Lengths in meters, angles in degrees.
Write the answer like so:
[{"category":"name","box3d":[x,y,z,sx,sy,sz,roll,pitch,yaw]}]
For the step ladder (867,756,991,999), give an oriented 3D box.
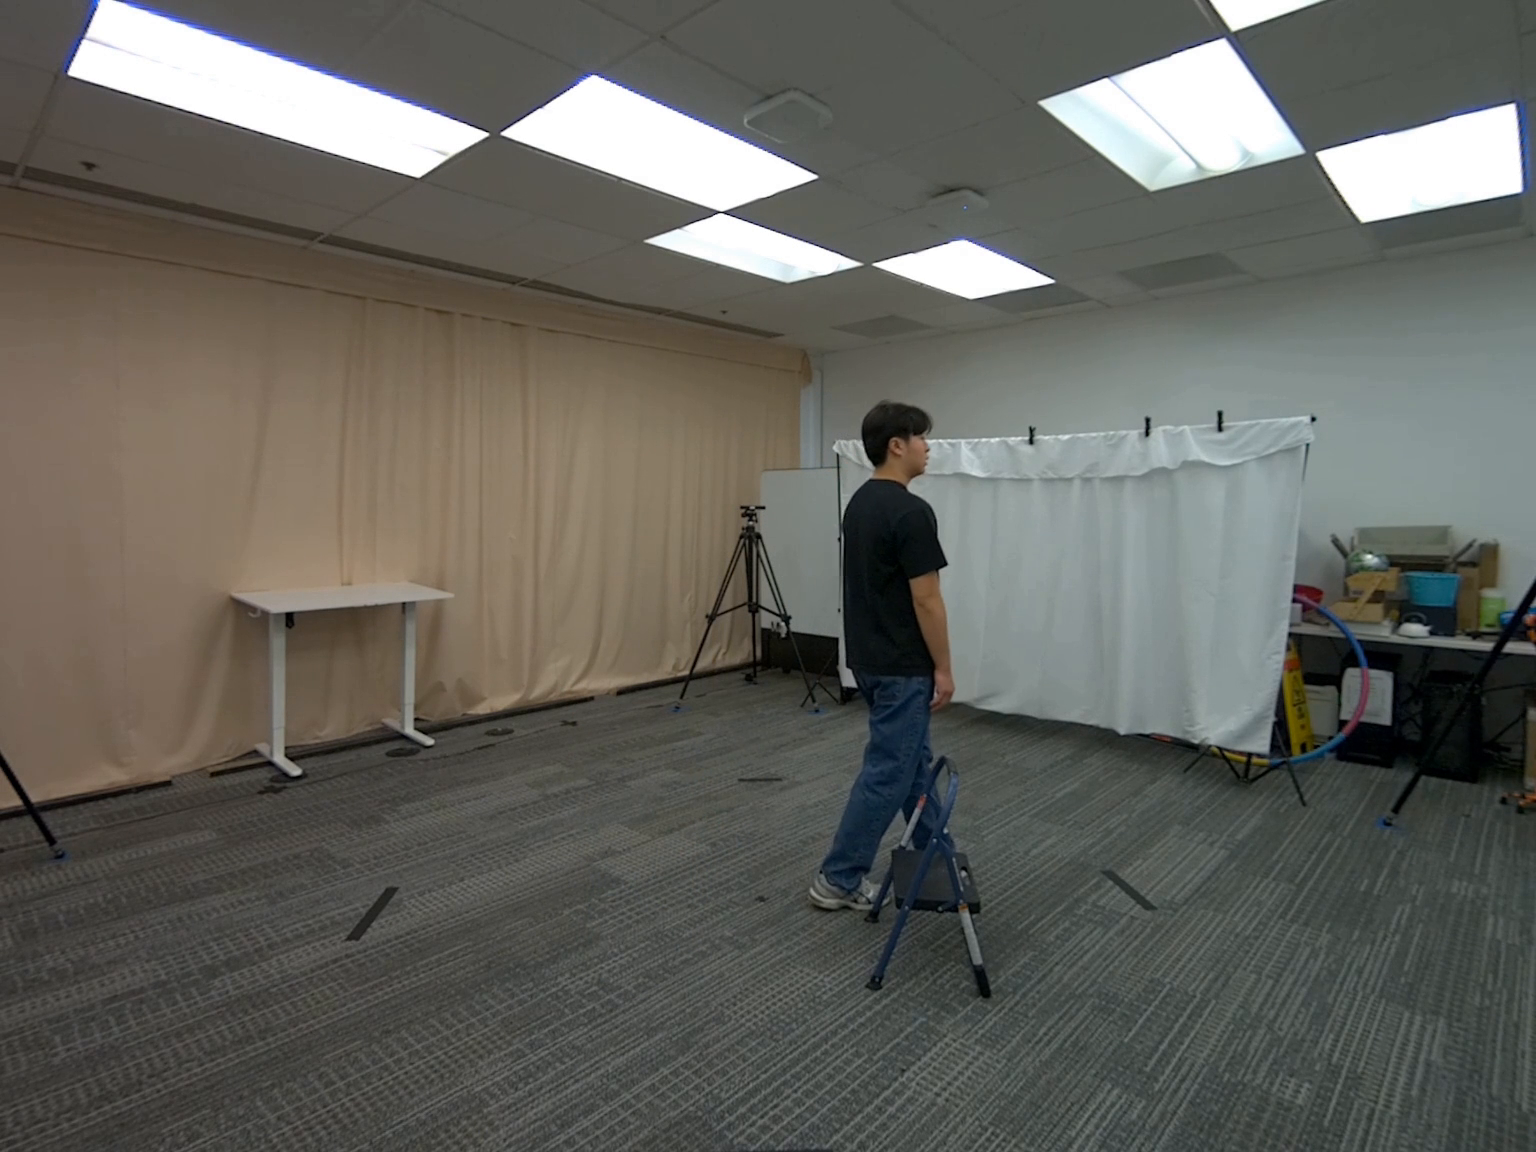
[{"category":"step ladder","box3d":[0.482,0.871,2.589,0.352,0.604,0.428,0,4,6]}]
